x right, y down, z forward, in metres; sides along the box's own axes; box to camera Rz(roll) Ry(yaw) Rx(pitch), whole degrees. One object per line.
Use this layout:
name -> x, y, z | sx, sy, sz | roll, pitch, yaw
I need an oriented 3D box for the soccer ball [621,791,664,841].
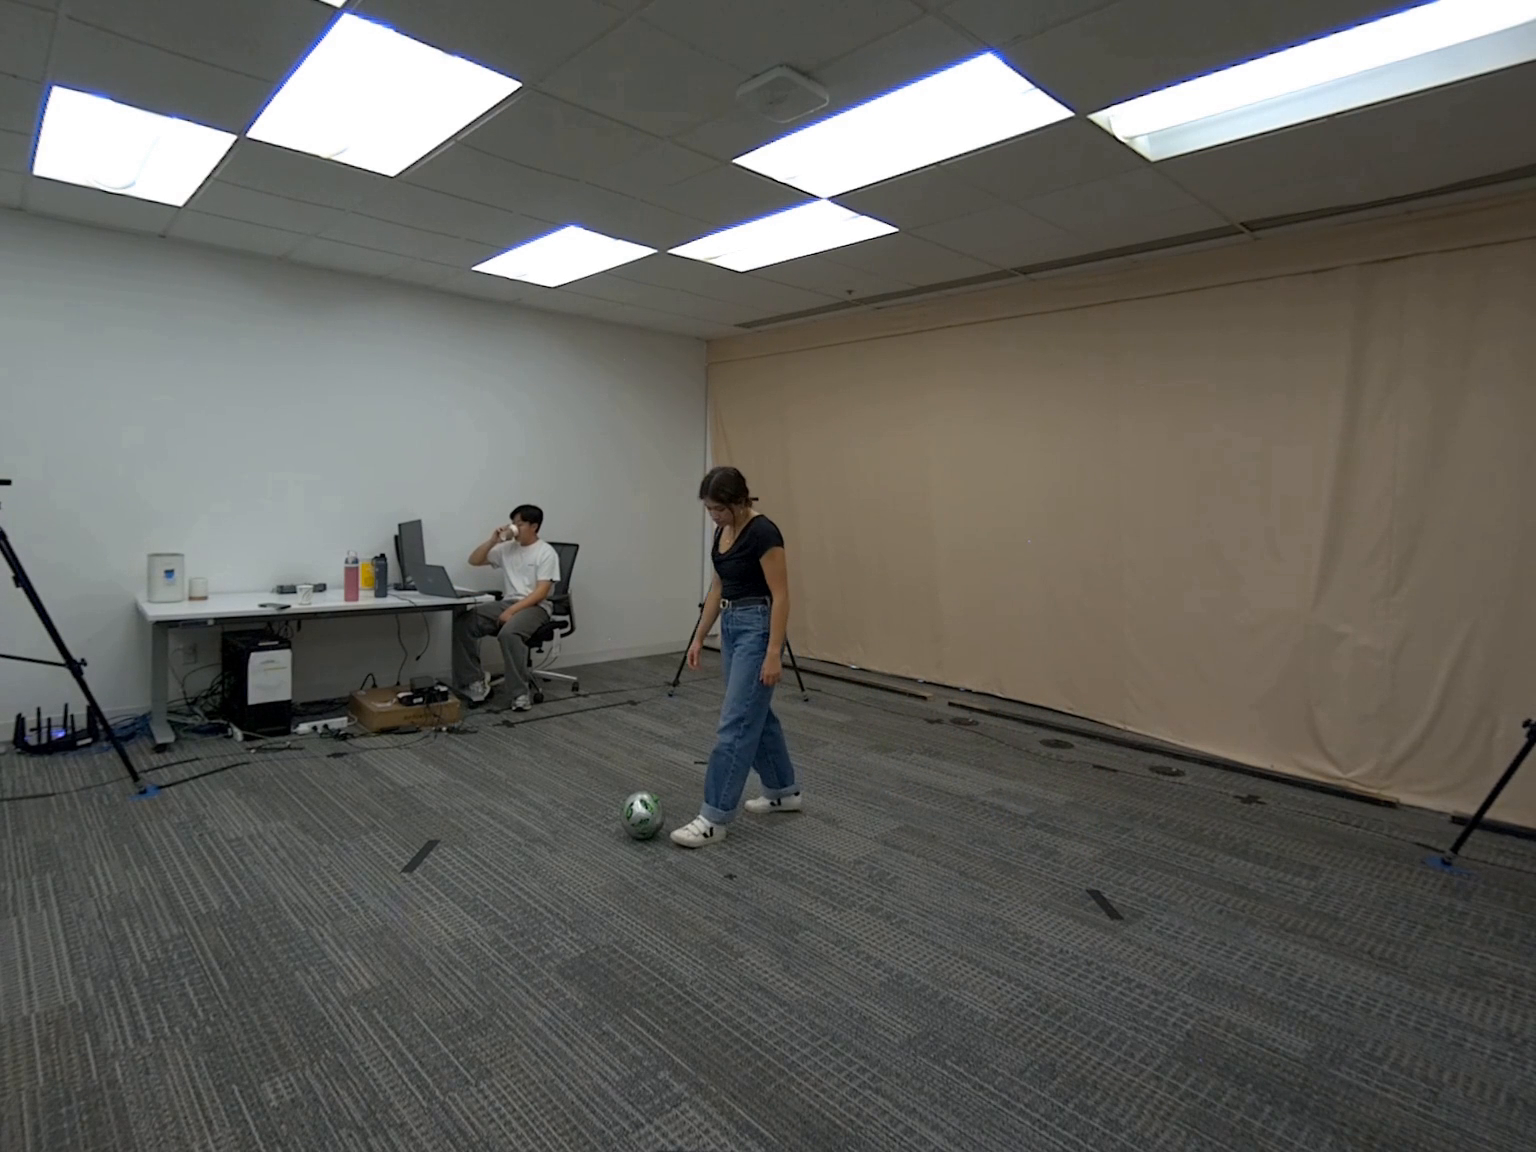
soccer ball -> -0.520, 0.974, 3.429 | 0.187, 0.187, 0.188 | 1, 4, -1
